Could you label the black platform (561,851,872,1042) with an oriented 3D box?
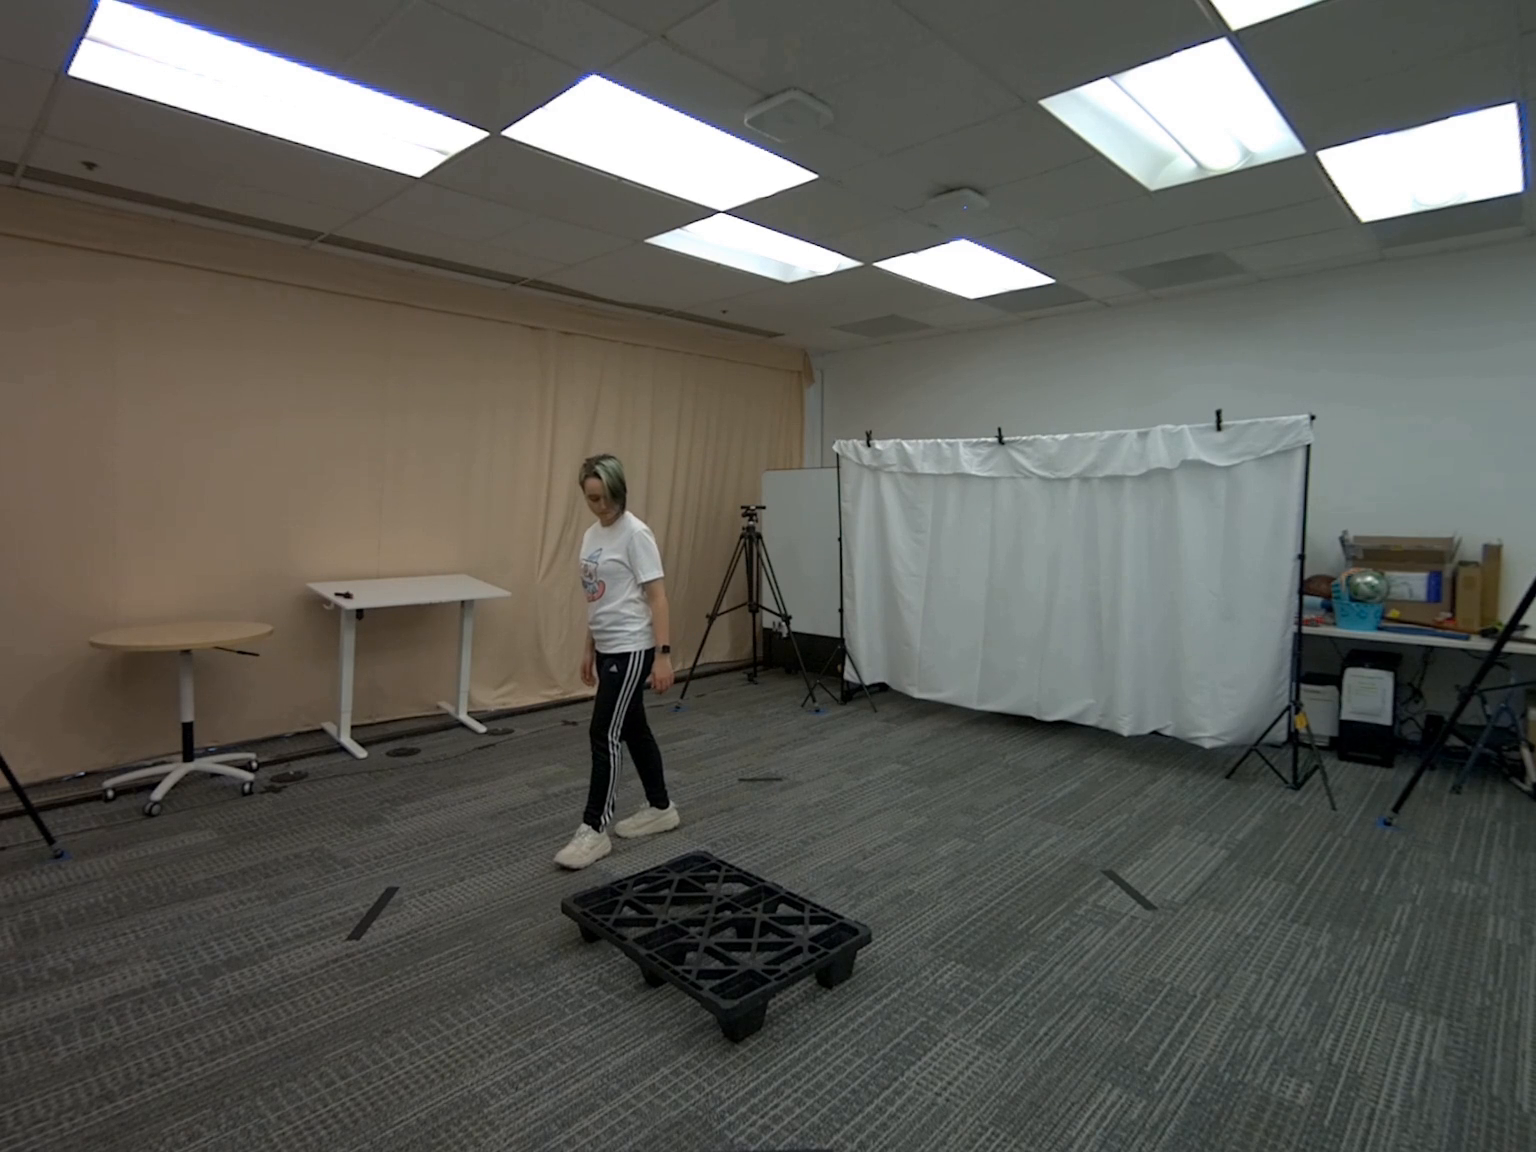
[{"bbox_3d":[-0.173,1.111,2.594,0.587,0.143,0.832,-5,7,-43],"label":"black platform"}]
